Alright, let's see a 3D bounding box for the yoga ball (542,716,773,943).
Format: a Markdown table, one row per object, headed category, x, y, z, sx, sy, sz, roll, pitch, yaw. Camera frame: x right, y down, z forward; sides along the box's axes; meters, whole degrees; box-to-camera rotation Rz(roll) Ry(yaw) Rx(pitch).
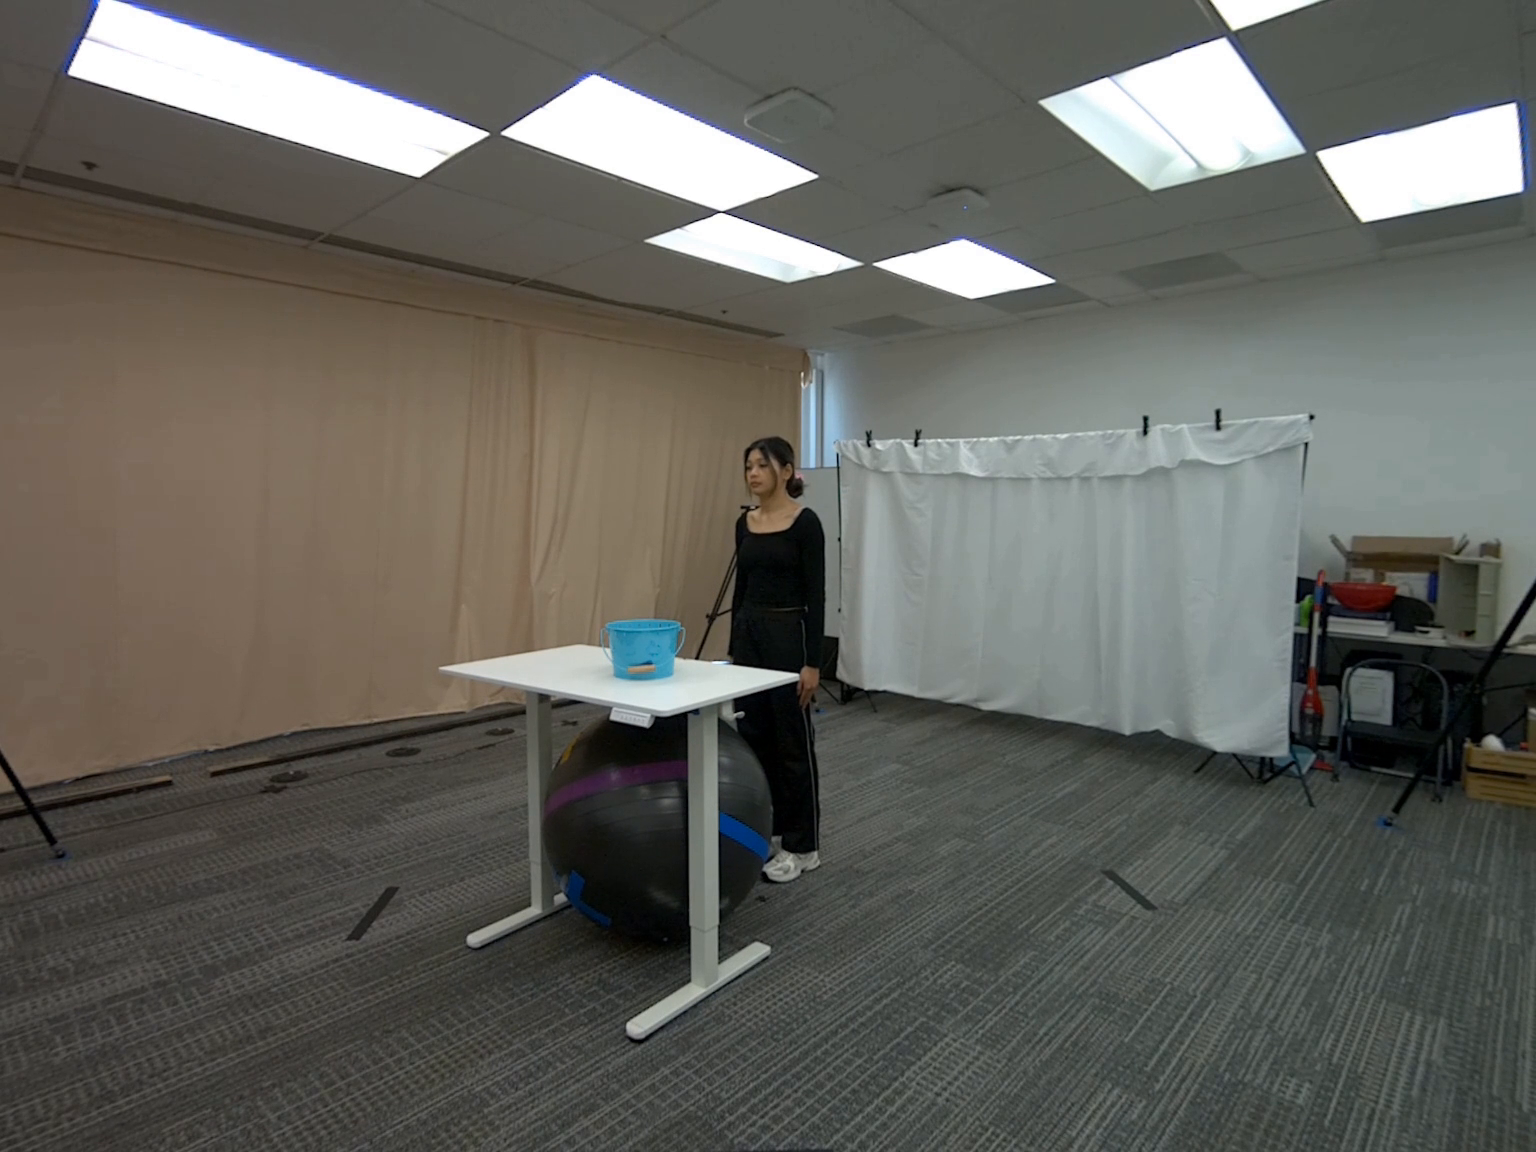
| category | x | y | z | sx | sy | sz | roll | pitch | yaw |
| --- | --- | --- | --- | --- | --- | --- | --- | --- | --- |
| yoga ball | -0.372 | 0.800 | 2.778 | 0.757 | 0.756 | 0.761 | 0 | 4 | -2 |
